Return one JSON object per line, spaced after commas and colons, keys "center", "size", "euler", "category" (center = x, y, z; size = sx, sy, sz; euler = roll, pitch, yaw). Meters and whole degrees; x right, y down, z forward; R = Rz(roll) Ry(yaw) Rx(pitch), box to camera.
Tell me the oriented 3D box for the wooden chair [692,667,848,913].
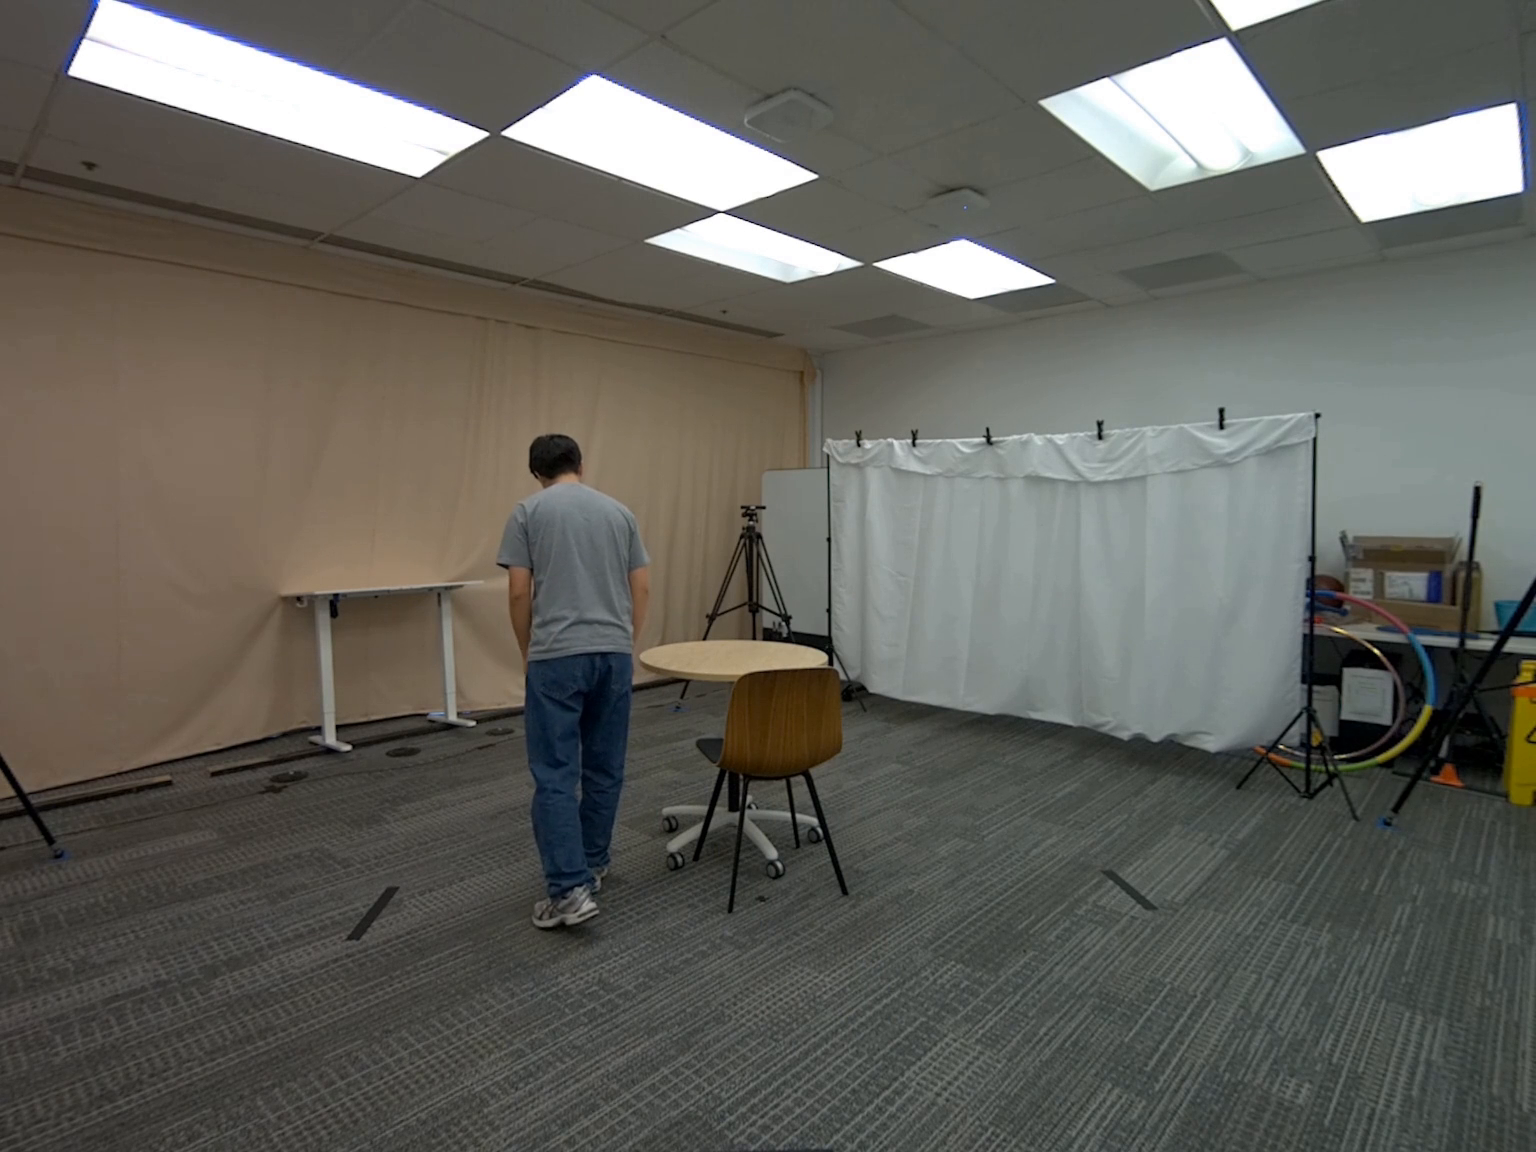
{"center": [-0.005, 0.703, 3.124], "size": [0.469, 0.873, 0.536], "euler": [-2, 8, -19], "category": "wooden chair"}
